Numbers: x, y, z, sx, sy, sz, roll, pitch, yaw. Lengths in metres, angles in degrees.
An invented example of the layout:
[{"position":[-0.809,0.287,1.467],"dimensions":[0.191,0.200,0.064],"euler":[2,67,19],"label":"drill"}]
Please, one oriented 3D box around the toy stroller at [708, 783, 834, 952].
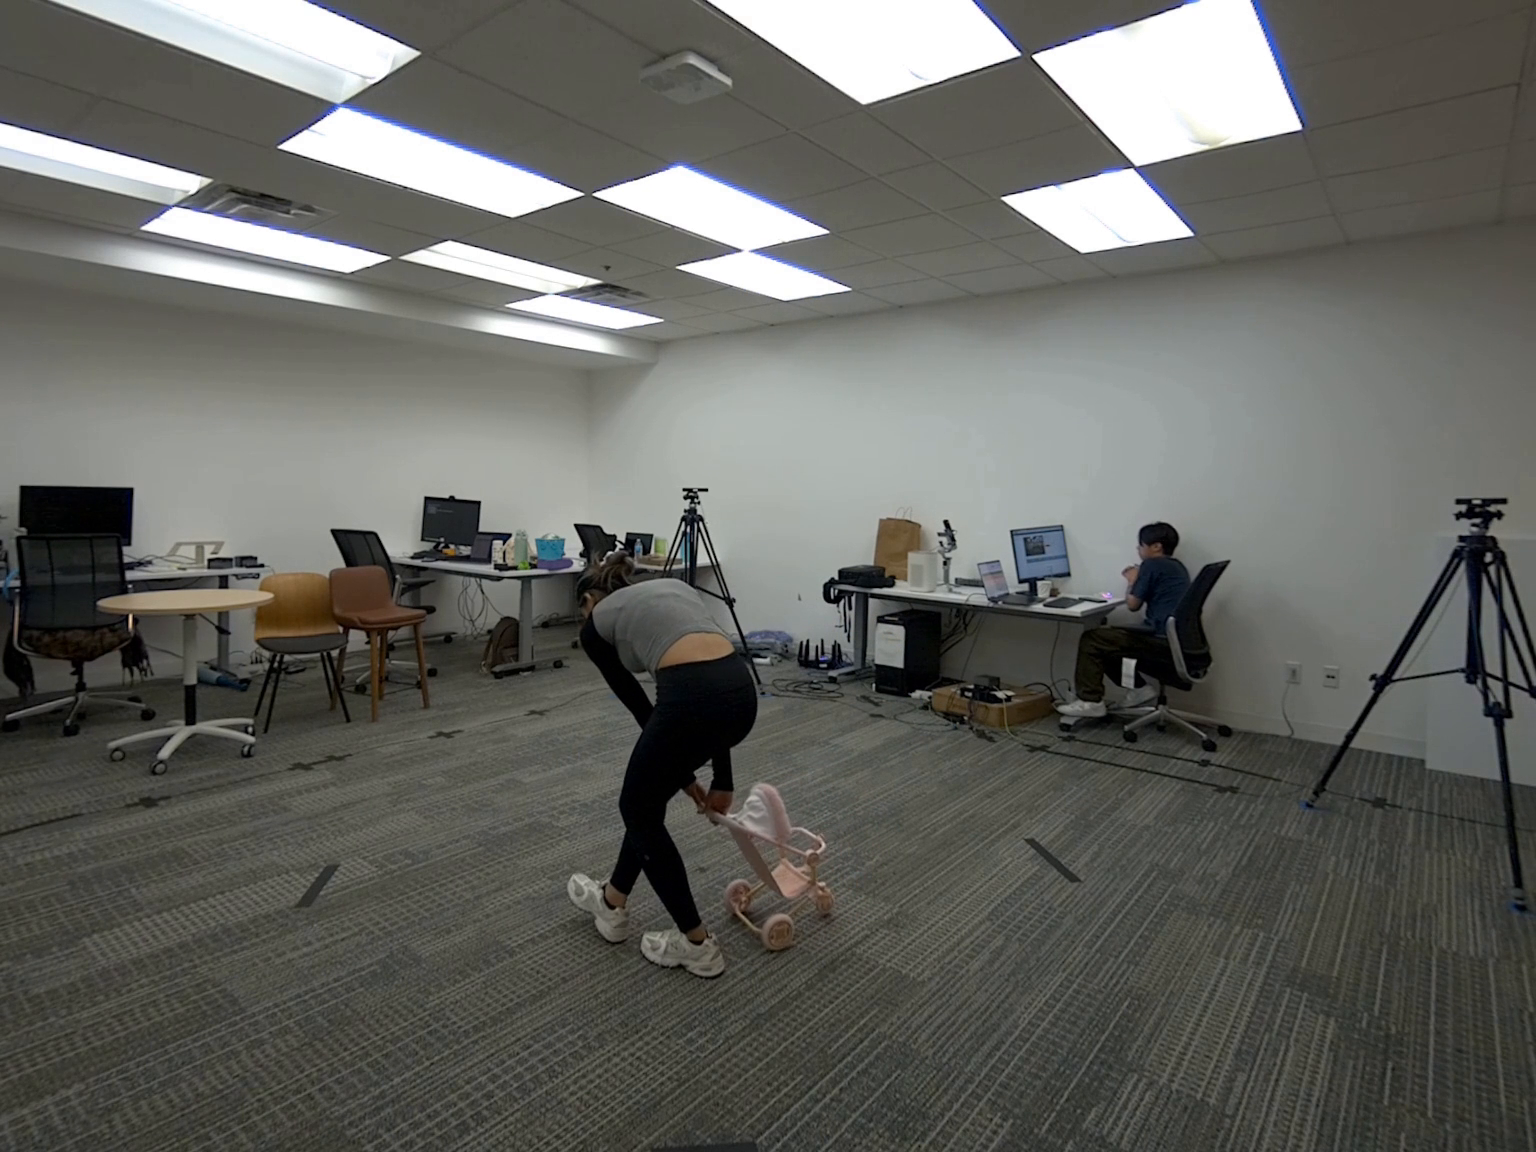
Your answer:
[{"position":[0.013,0.888,2.700],"dimensions":[0.337,0.529,0.288],"euler":[-20,10,-22],"label":"toy stroller"}]
